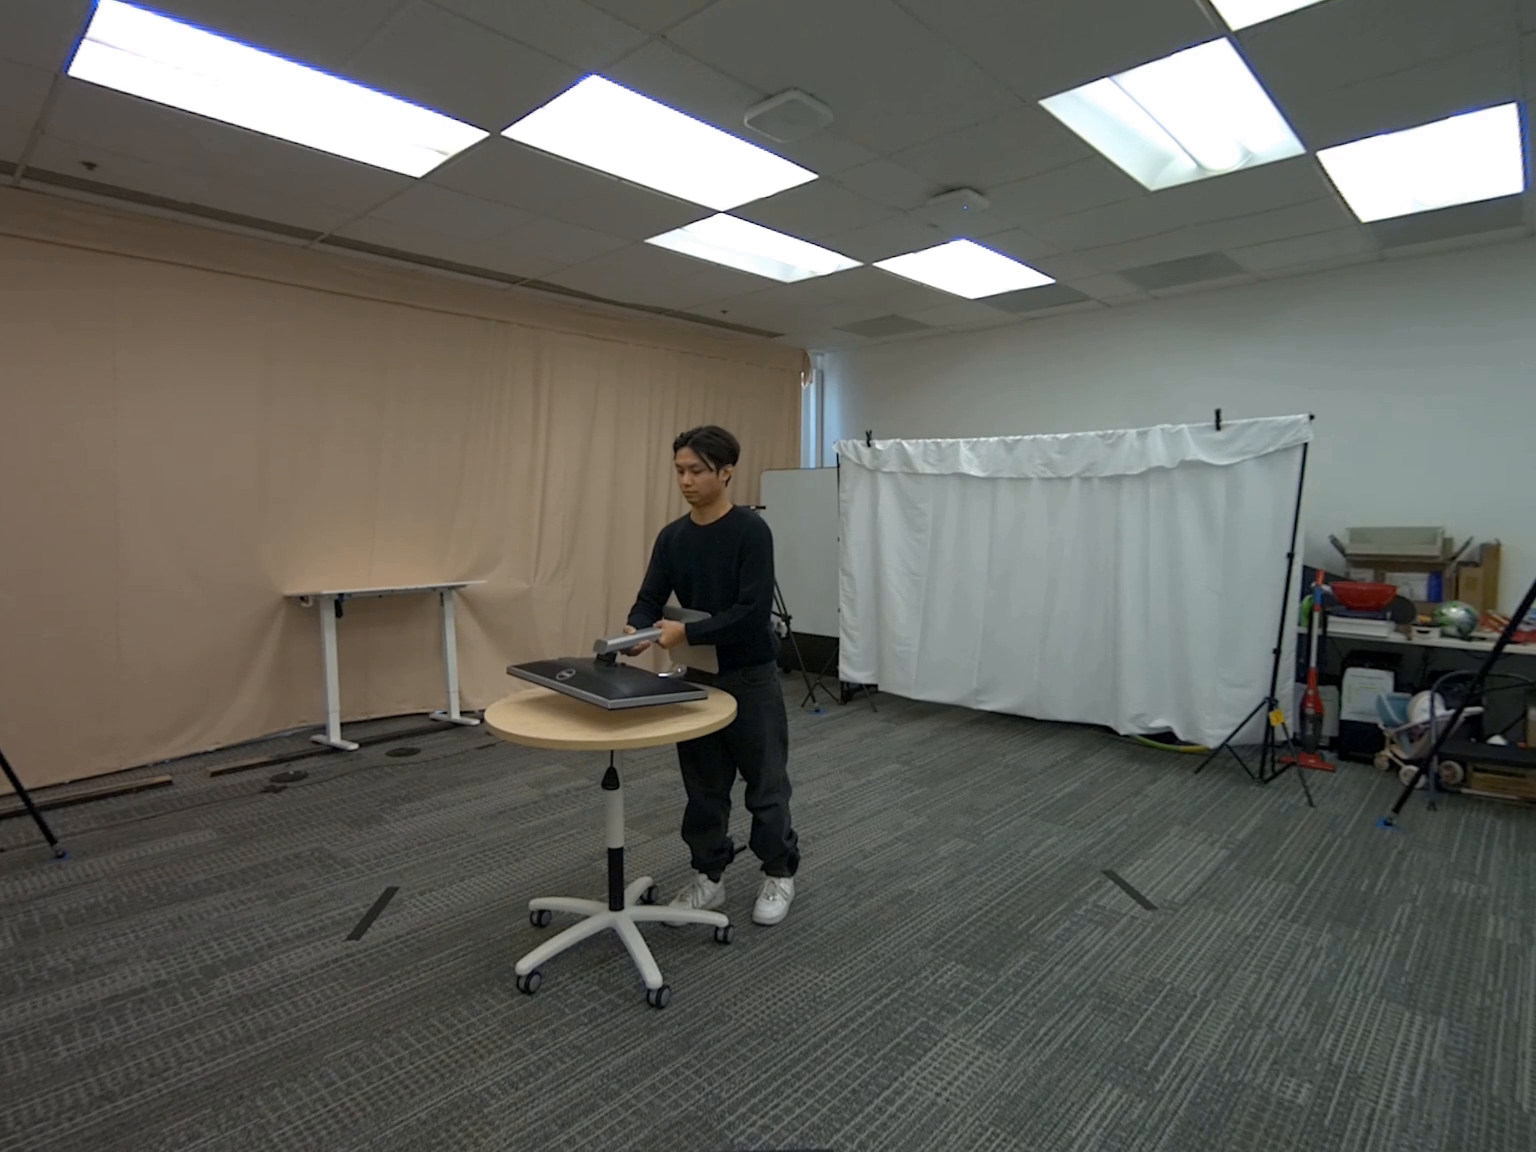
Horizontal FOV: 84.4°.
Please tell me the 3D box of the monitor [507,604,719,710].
[{"bbox_3d":[-0.444,0.269,2.627,0.509,0.186,0.557,-17,14,-40],"label":"monitor"}]
